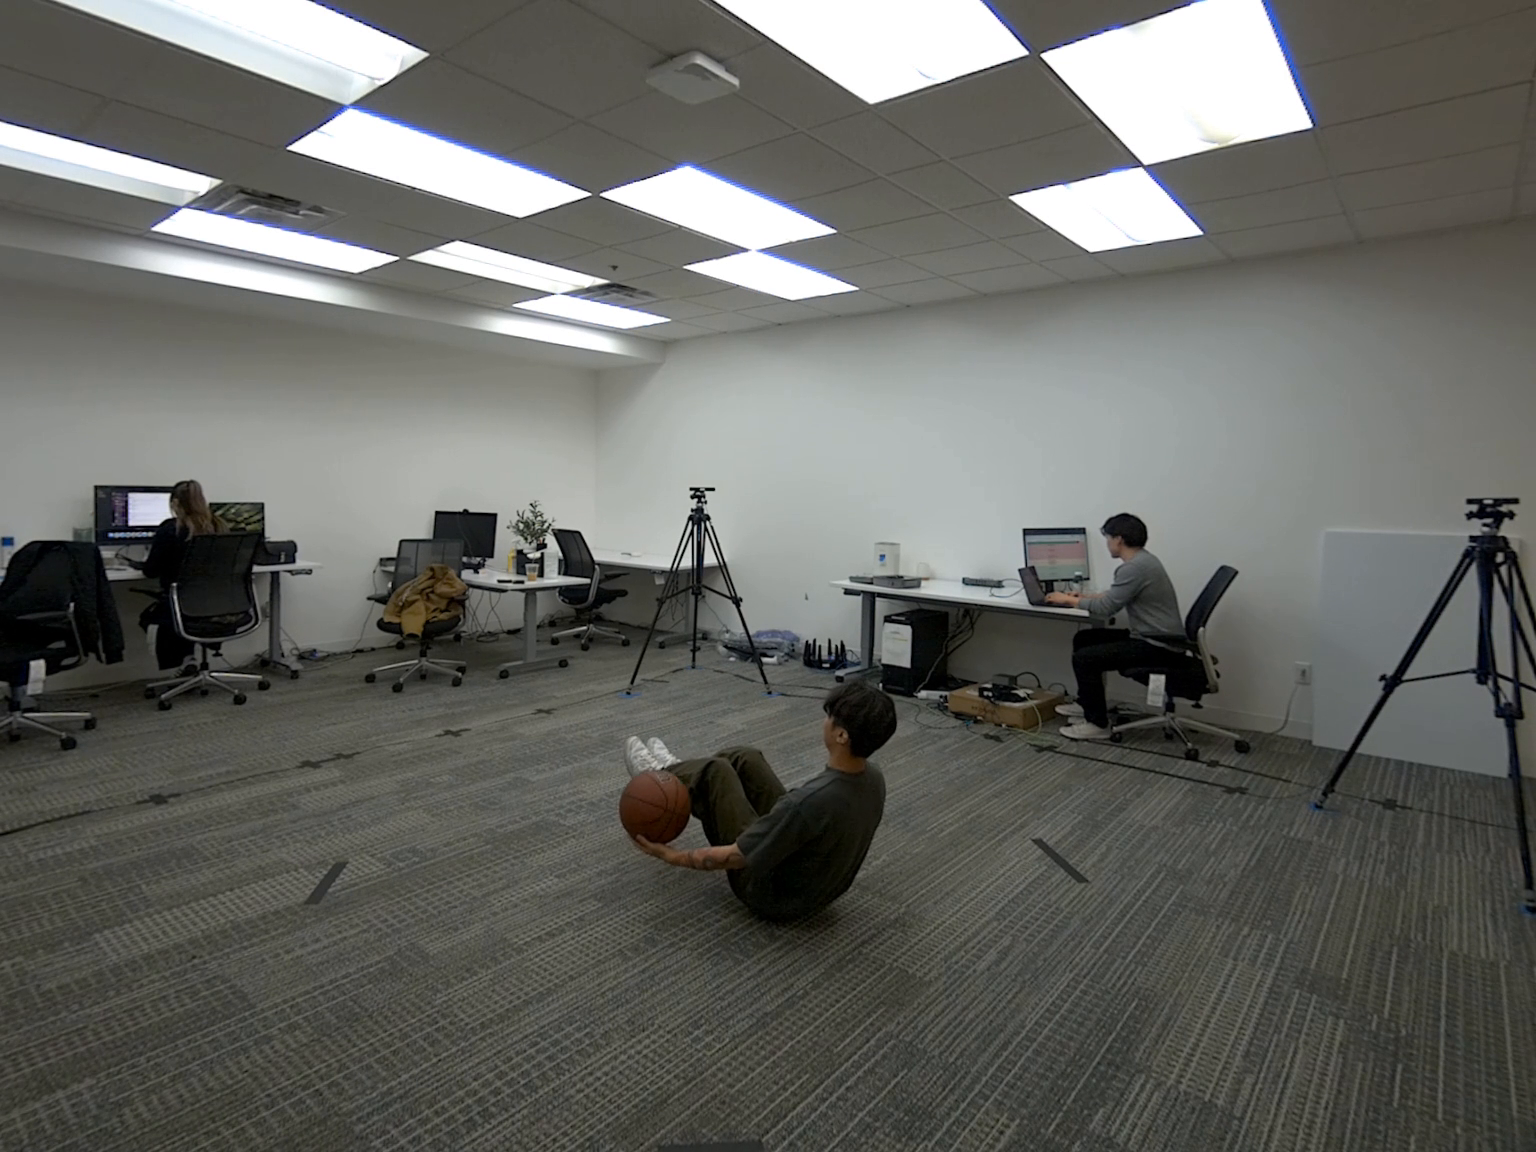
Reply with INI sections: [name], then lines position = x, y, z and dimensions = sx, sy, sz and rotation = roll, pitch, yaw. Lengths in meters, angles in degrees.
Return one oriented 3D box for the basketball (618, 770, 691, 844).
[basketball]
position = -0.378, 0.752, 2.821
dimensions = 0.235, 0.235, 0.237
rotation = 1, 4, -2
